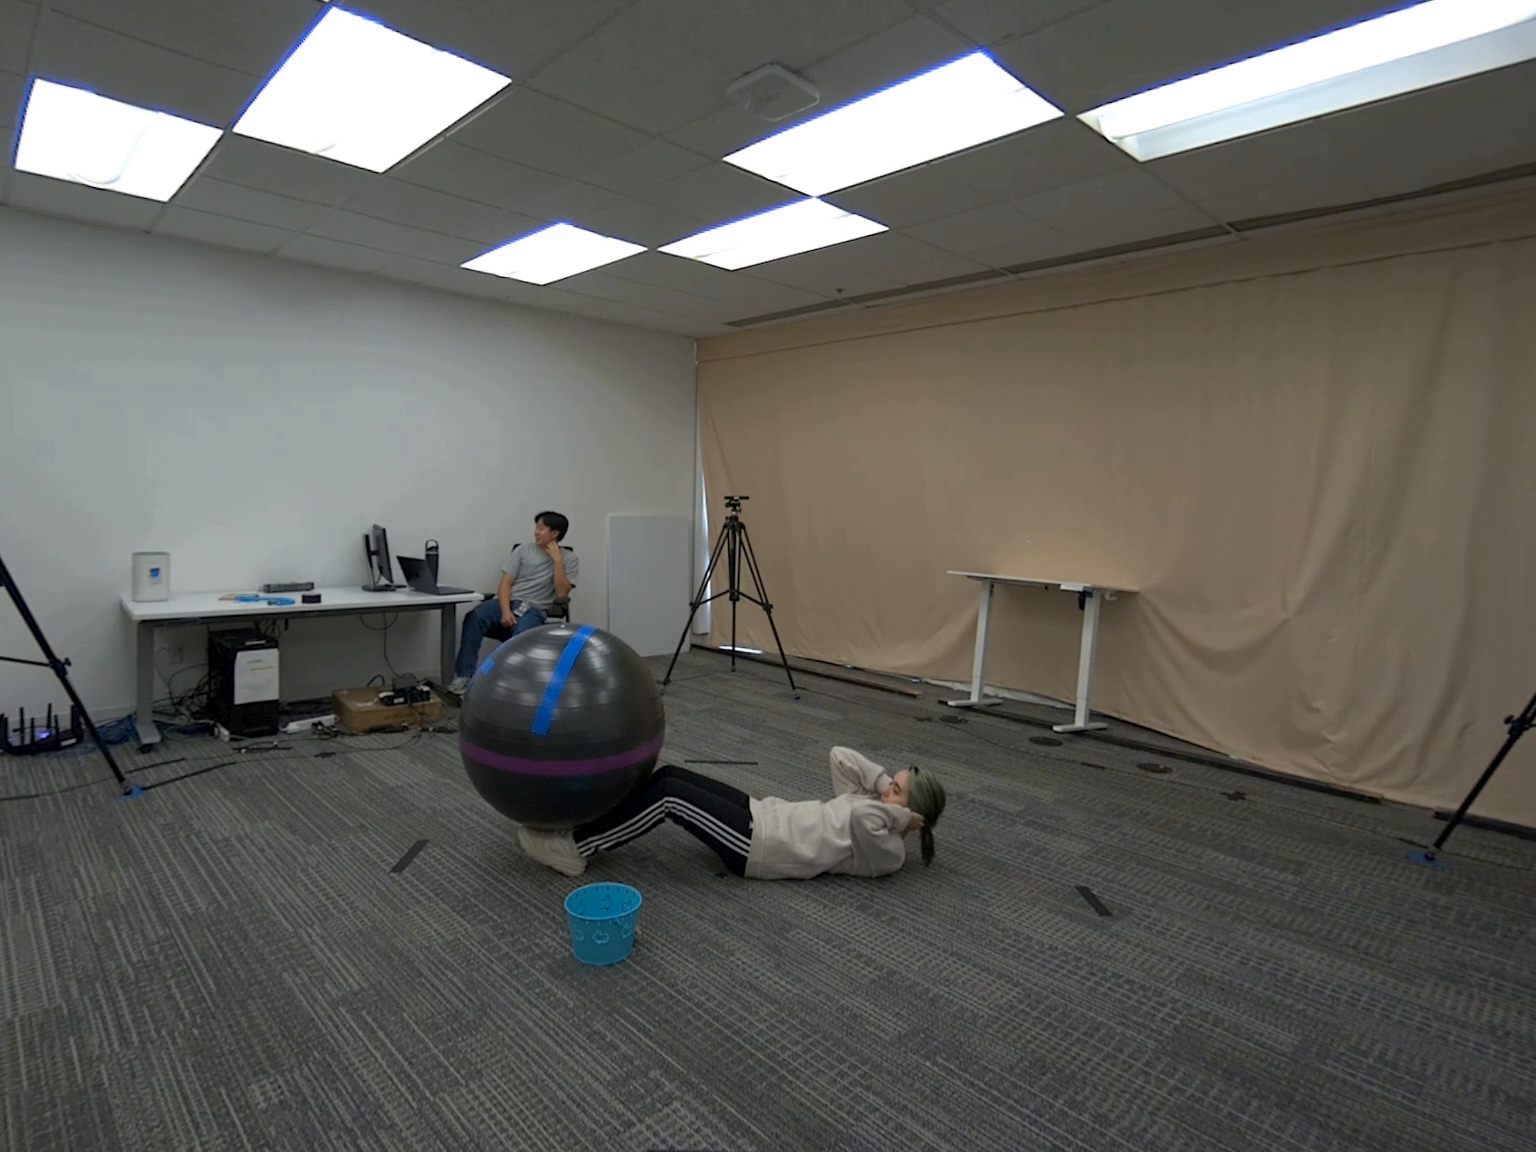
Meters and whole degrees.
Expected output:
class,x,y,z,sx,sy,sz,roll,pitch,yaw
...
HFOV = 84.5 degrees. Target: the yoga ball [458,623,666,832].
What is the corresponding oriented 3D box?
class,x,y,z,sx,sy,sz,roll,pitch,yaw
yoga ball,-0.785,0.560,3.157,0.757,0.756,0.761,1,4,-1
